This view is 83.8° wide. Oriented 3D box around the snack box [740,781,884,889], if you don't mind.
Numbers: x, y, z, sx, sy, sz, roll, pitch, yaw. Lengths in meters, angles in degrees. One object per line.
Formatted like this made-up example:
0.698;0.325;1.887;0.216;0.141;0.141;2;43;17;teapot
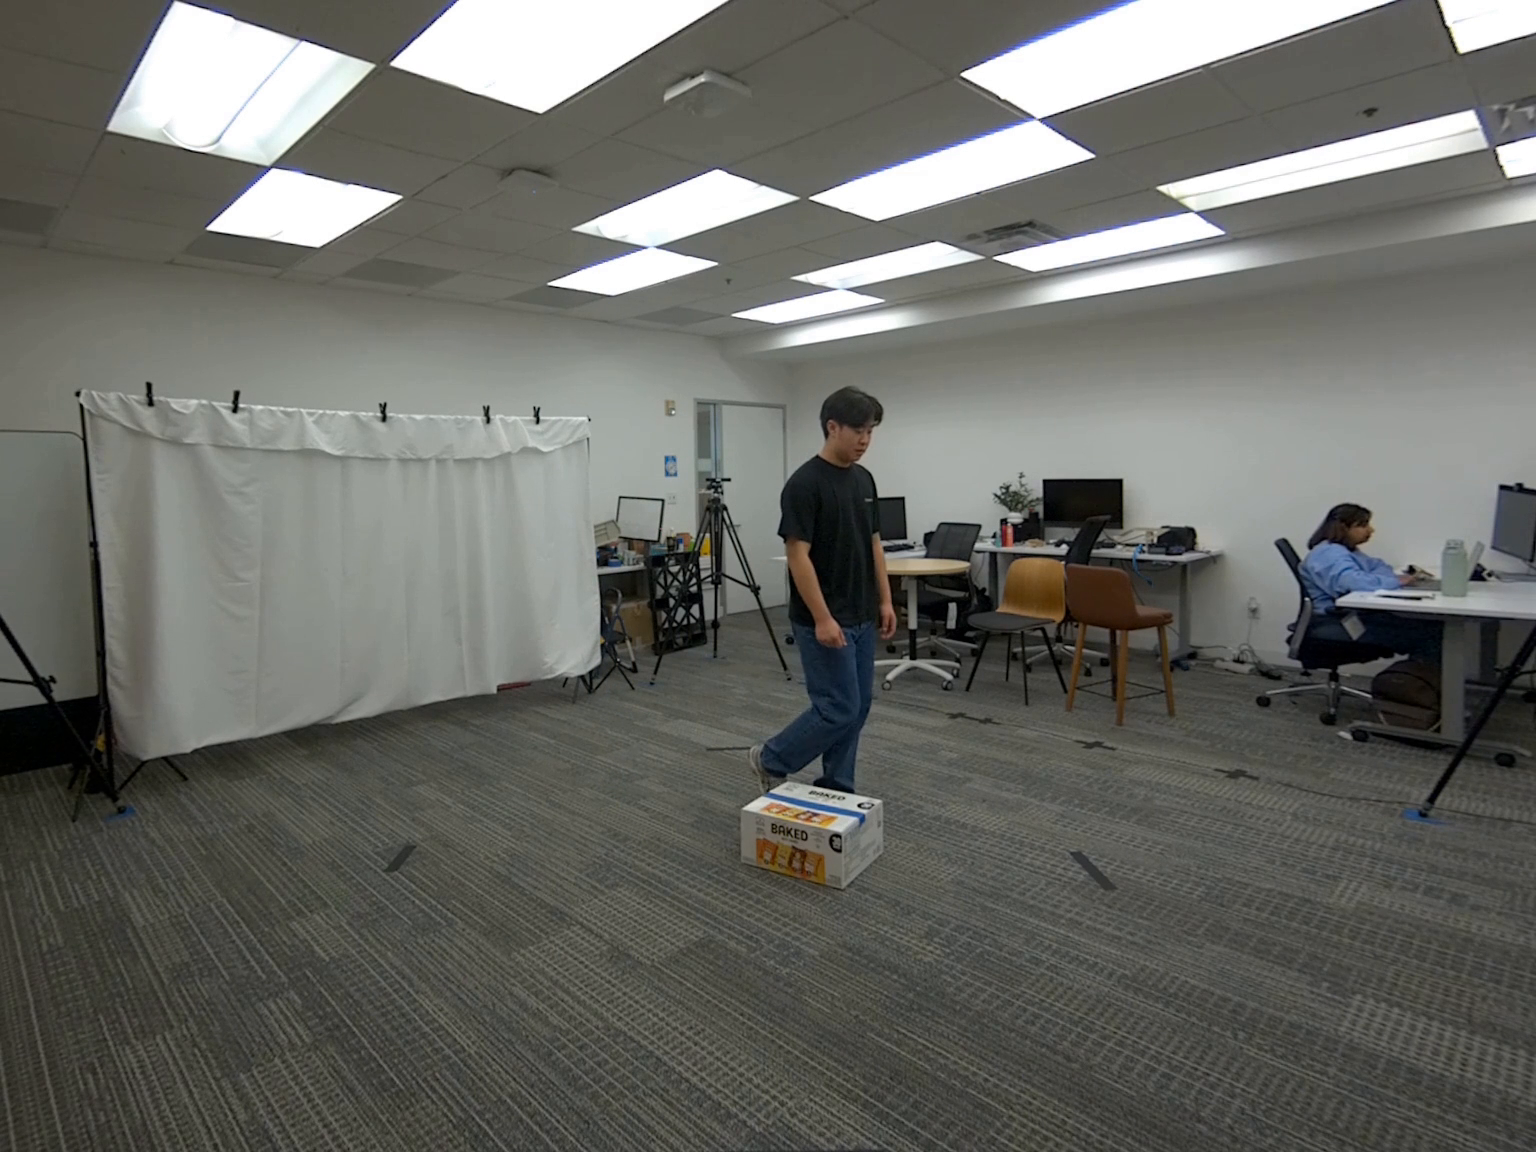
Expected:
0.167;0.937;3.122;0.416;0.205;0.332;3;7;33;snack box
